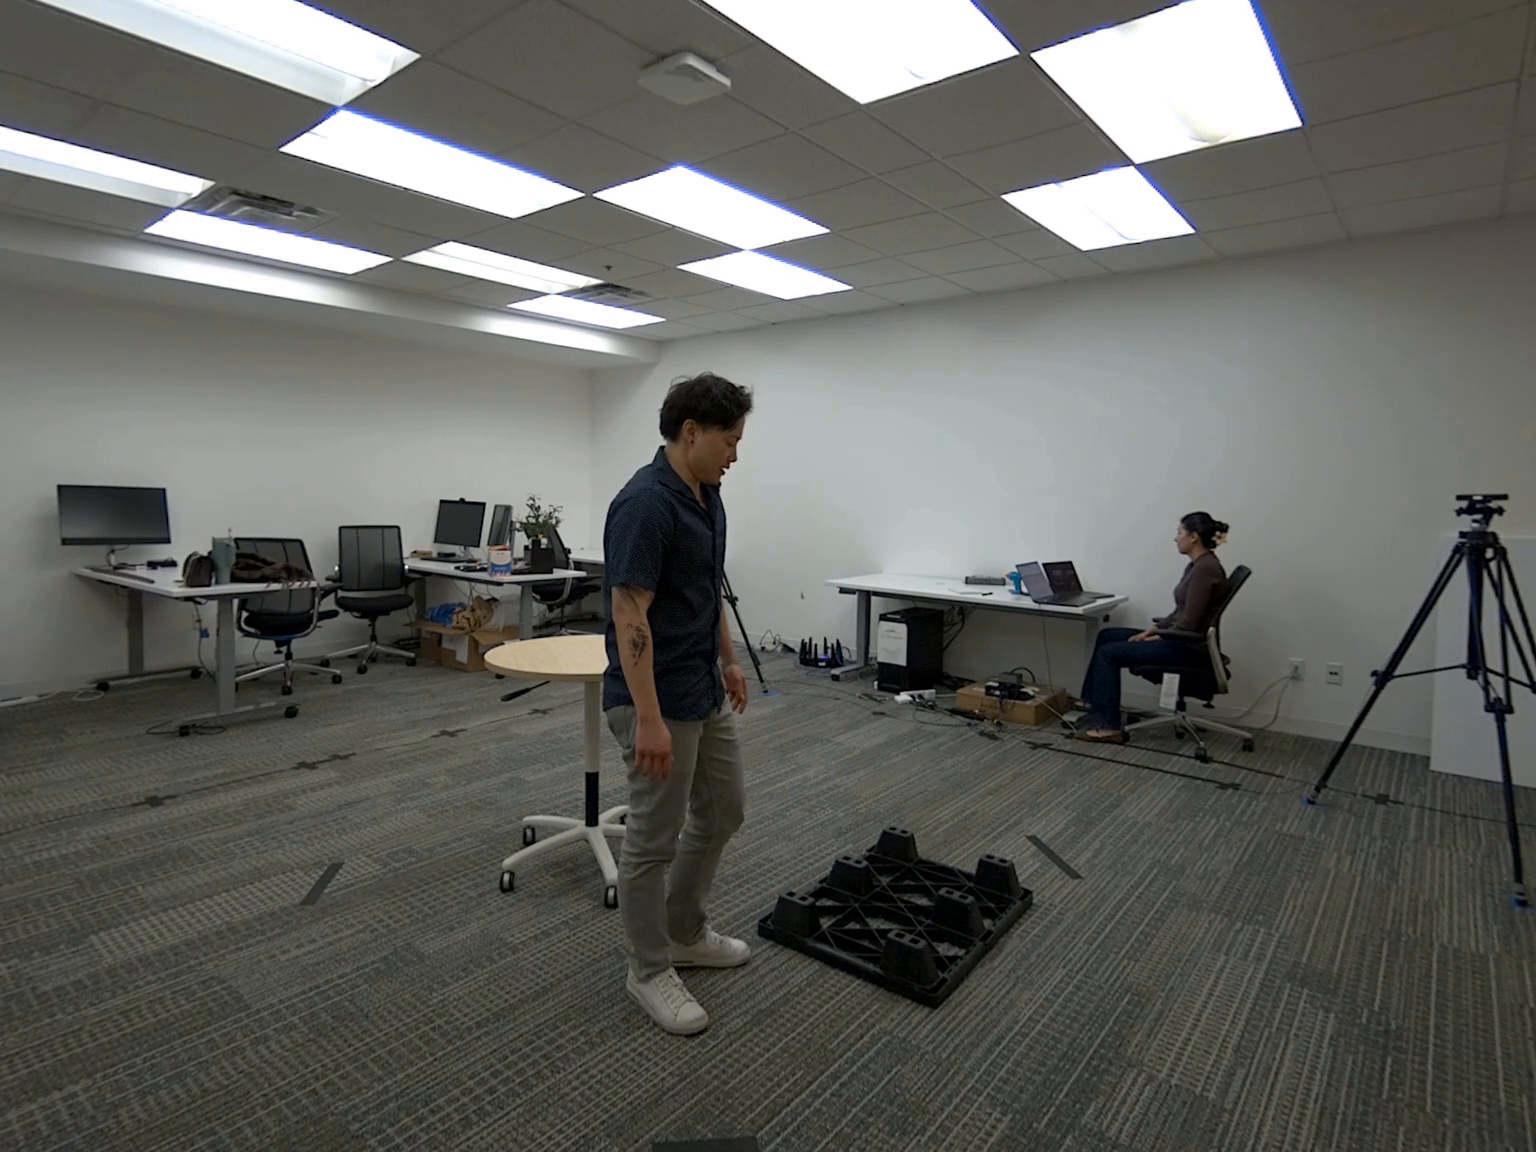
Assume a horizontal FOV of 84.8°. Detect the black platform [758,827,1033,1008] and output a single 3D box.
[{"bbox_3d":[0.429,1.043,2.765,0.625,0.143,0.783,5,7,36],"label":"black platform"}]
